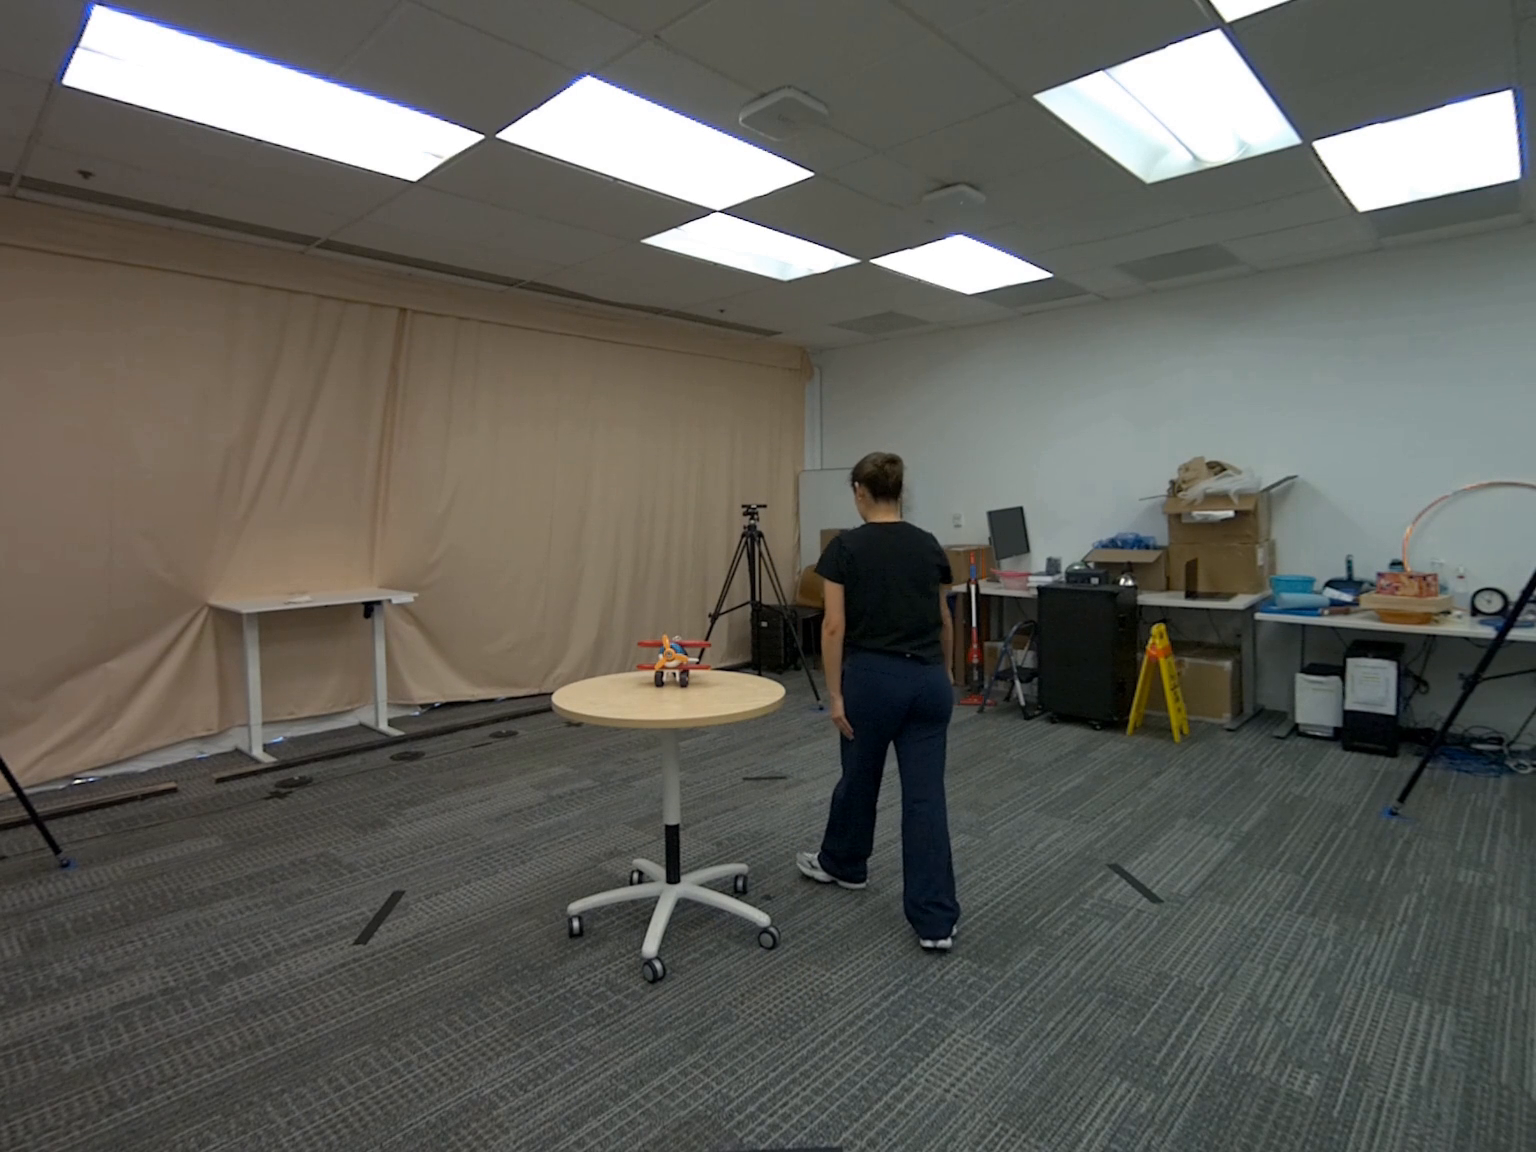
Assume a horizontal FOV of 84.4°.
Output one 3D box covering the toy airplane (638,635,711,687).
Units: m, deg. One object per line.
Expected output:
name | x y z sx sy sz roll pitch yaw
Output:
toy airplane | -0.335 0.295 2.940 0.245 0.156 0.265 0 3 -23
